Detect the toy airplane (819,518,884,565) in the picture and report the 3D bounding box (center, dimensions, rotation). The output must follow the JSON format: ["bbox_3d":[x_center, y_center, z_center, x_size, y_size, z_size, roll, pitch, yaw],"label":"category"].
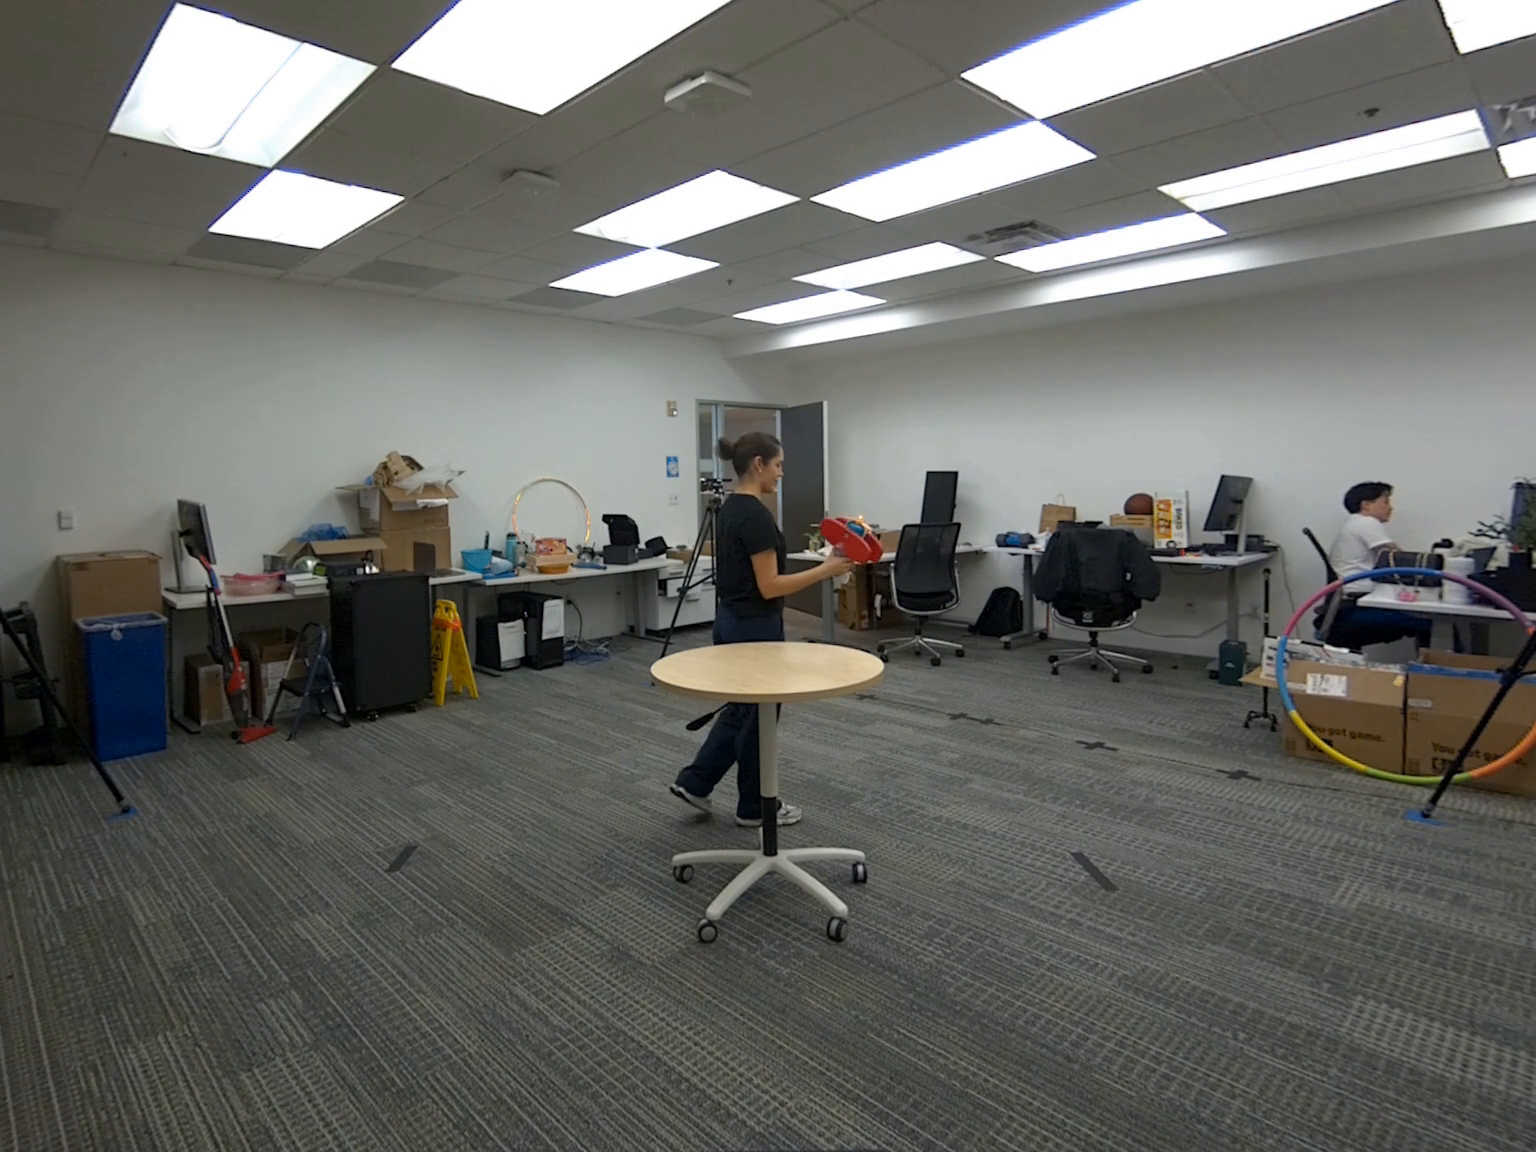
[{"bbox_3d":[0.307,-0.098,3.270,0.259,0.260,0.151,4,-4,37],"label":"toy airplane"}]
